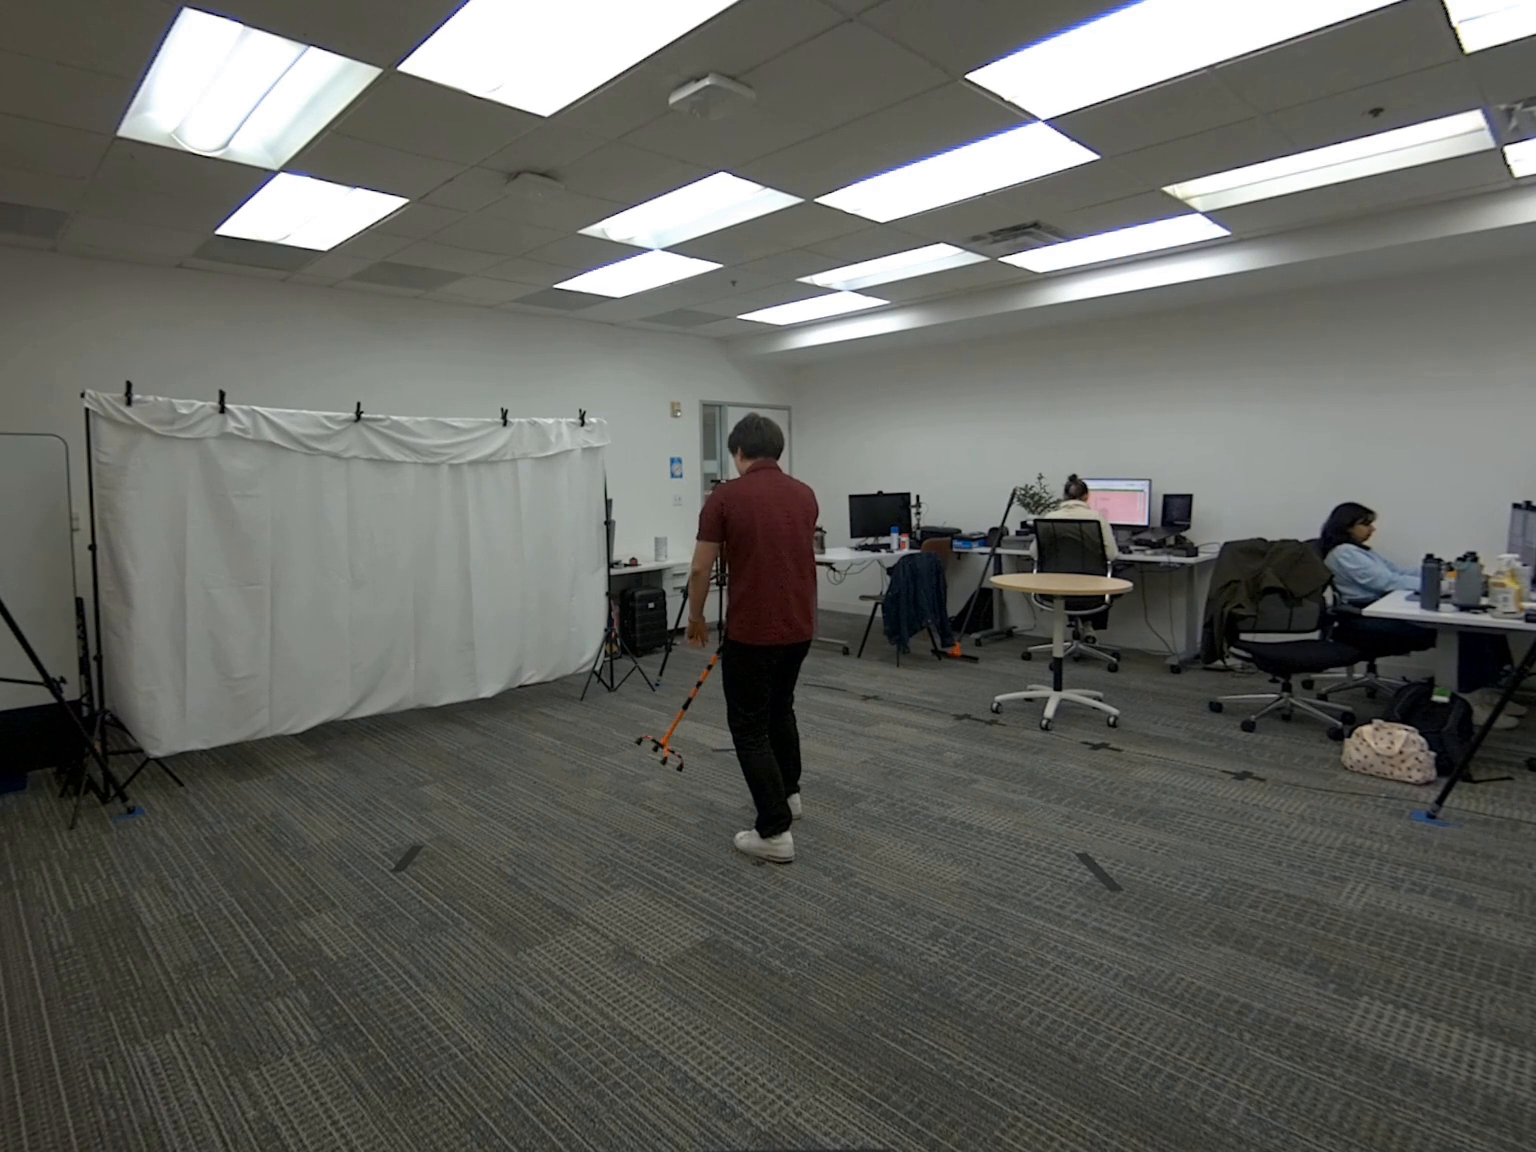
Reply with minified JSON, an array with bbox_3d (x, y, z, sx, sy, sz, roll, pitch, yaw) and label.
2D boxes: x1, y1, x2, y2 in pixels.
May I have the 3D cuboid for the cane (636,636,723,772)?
[{"bbox_3d":[-0.251,0.405,3.790,0.213,0.909,0.146,26,-6,30],"label":"cane"}]
